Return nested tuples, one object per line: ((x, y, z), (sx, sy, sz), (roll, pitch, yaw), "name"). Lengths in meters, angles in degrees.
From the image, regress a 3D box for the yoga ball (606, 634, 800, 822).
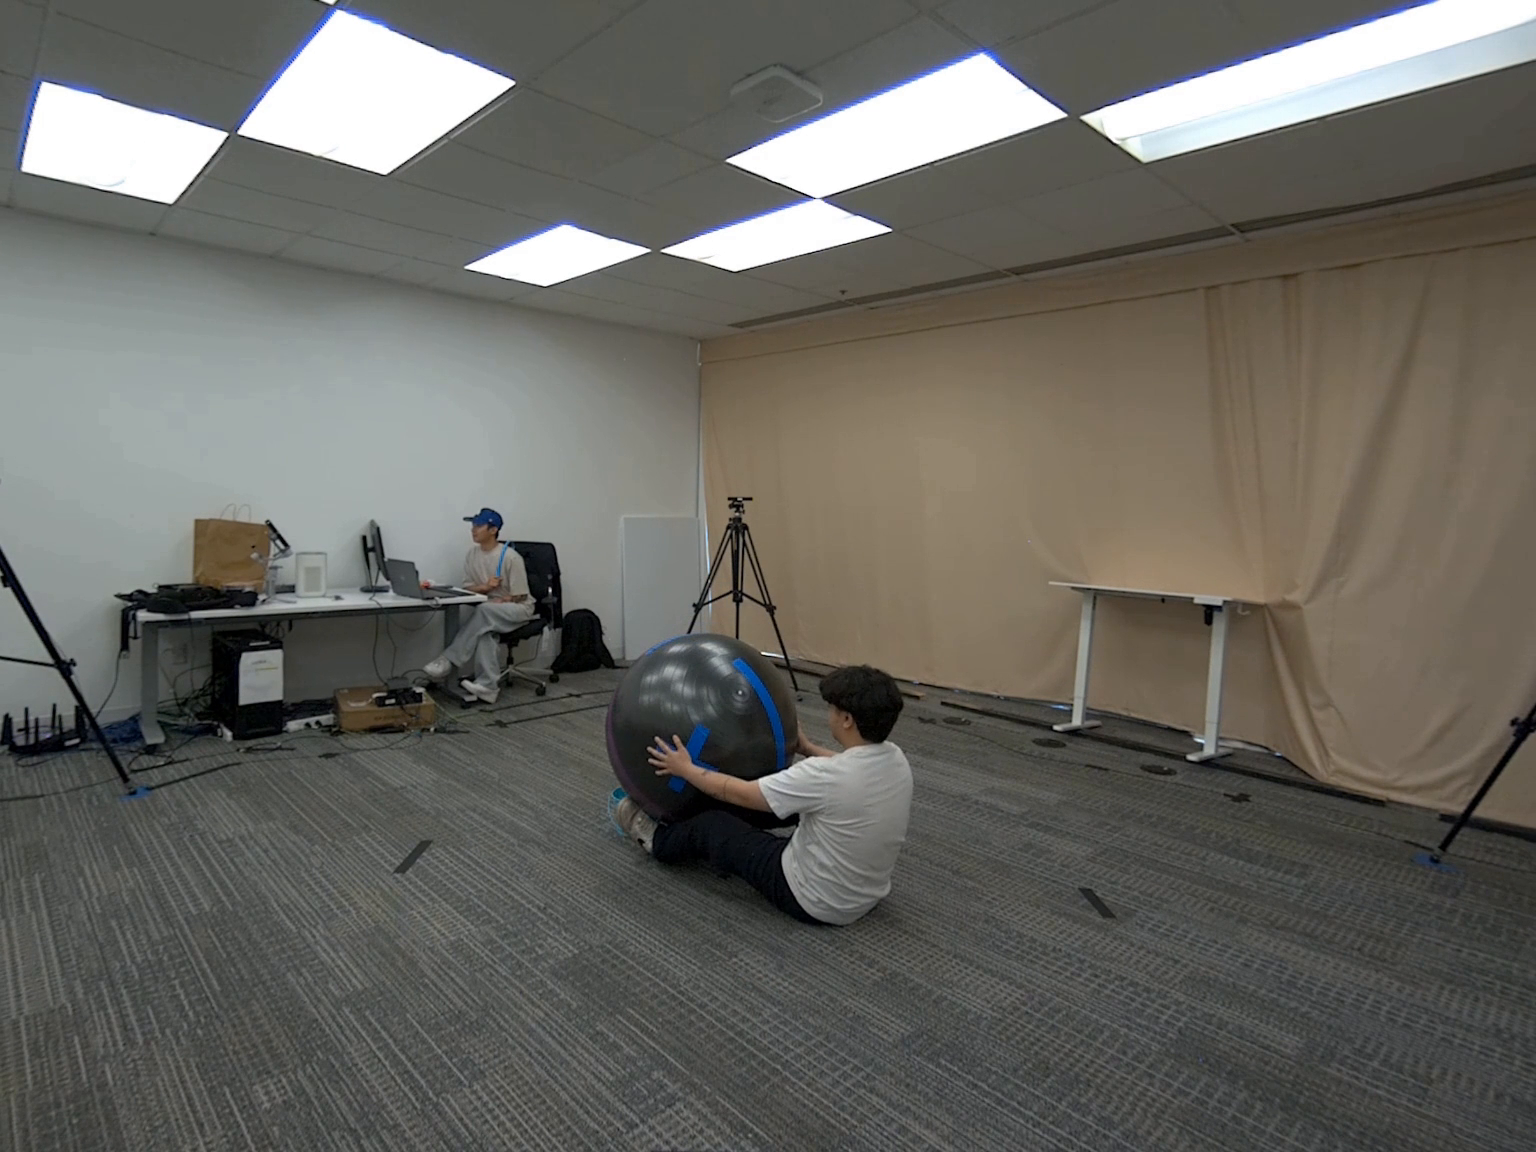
((-0.267, 0.605, 3.339), (0.757, 0.756, 0.760), (1, 4, -1), "yoga ball")
